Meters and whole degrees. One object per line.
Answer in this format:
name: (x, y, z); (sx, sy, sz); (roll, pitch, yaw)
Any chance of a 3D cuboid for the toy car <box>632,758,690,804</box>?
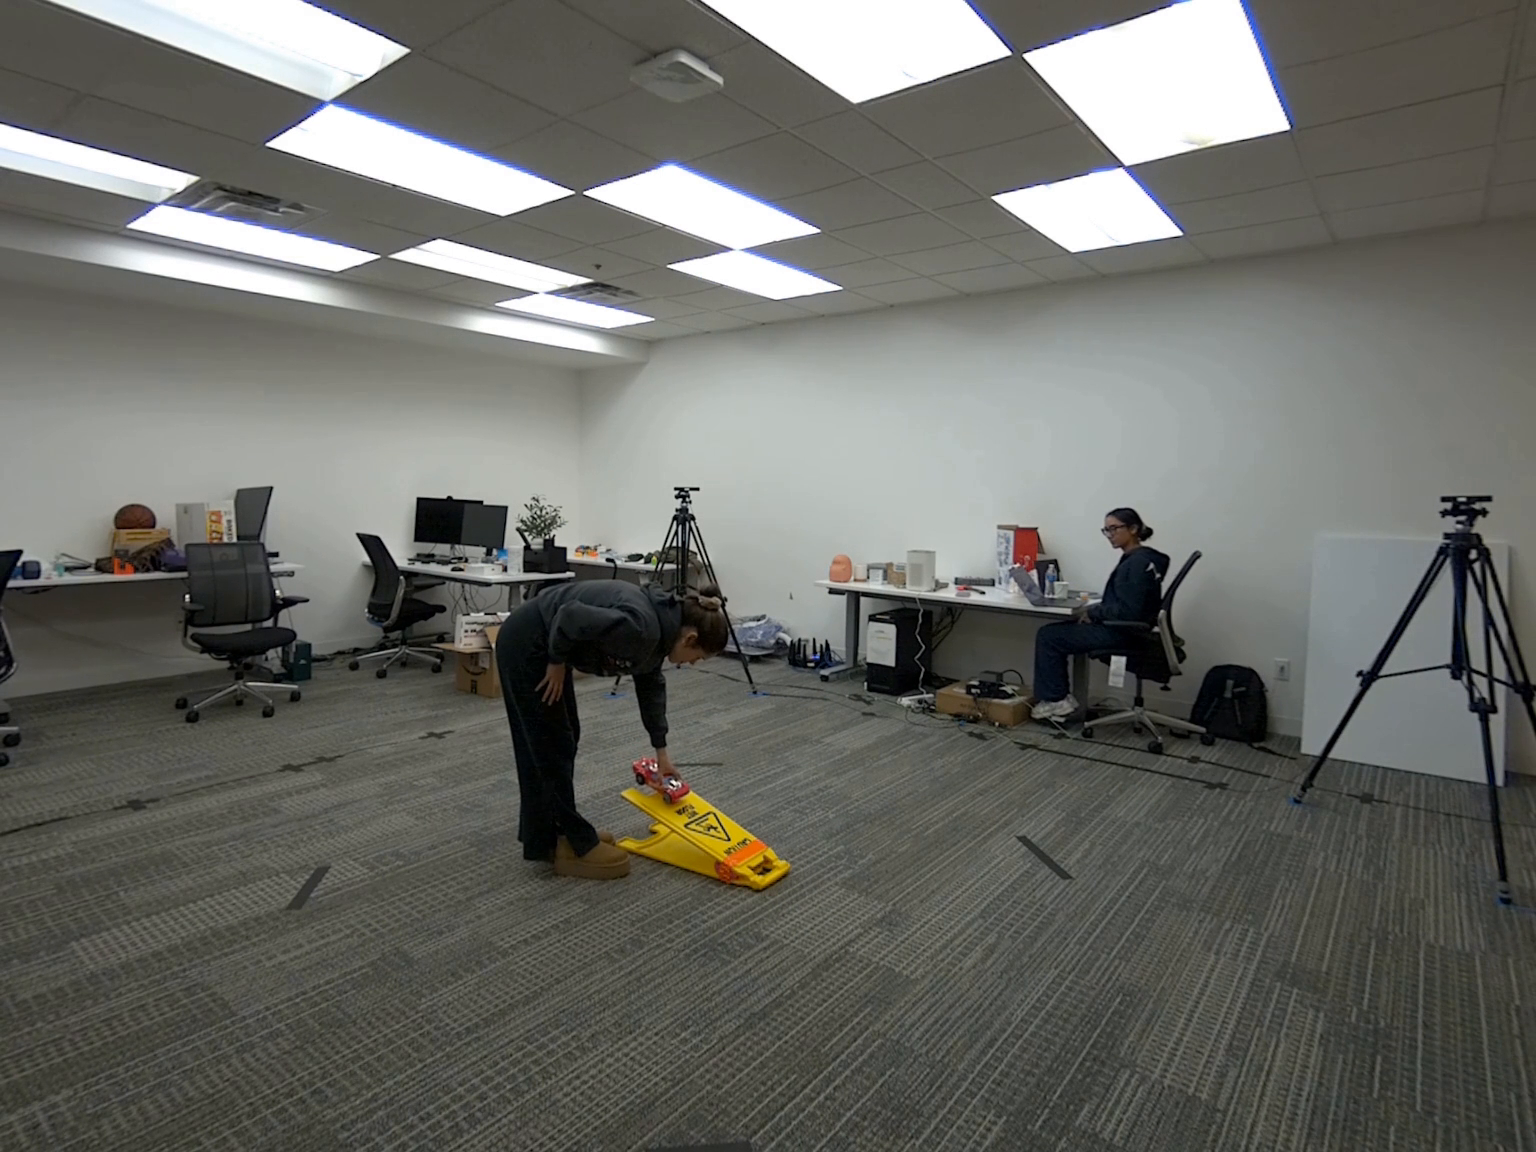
toy car: (-0.426, 0.796, 3.307); (0.264, 0.082, 0.127); (37, 27, 31)
